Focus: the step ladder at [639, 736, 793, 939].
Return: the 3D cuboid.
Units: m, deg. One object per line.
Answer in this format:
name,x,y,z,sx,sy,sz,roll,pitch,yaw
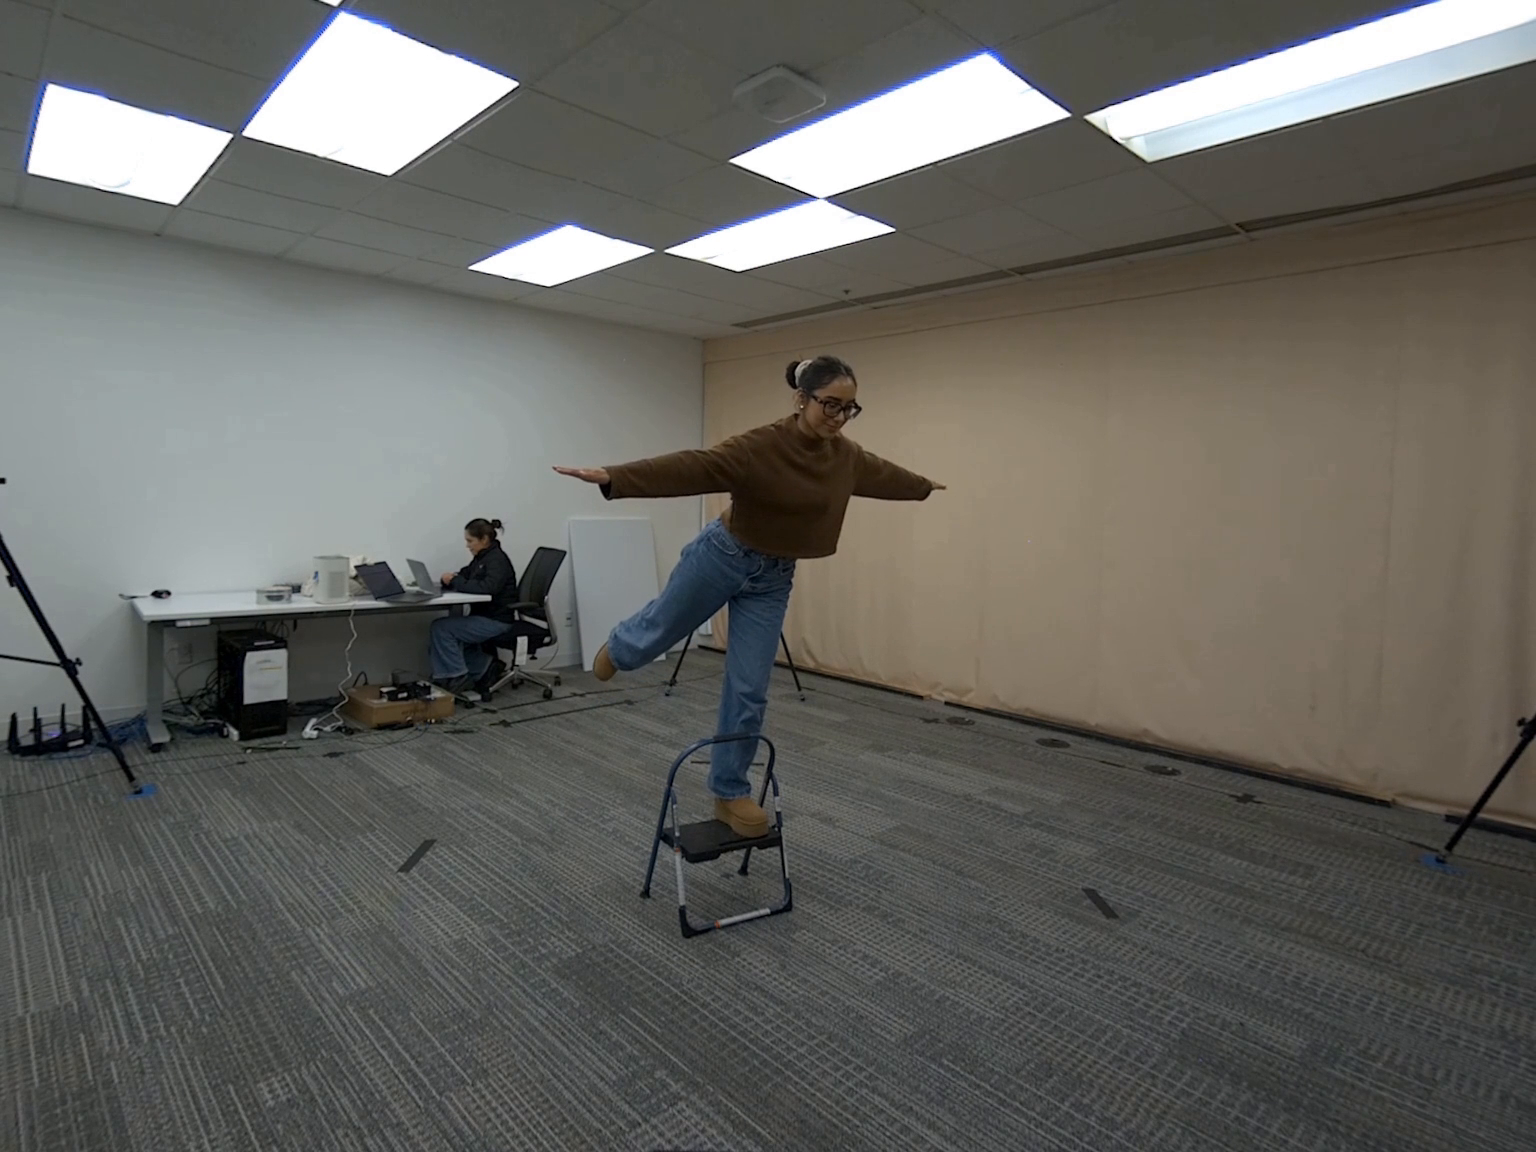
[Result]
step ladder,-0.176,0.825,2.879,0.421,0.604,0.357,-1,4,-32
